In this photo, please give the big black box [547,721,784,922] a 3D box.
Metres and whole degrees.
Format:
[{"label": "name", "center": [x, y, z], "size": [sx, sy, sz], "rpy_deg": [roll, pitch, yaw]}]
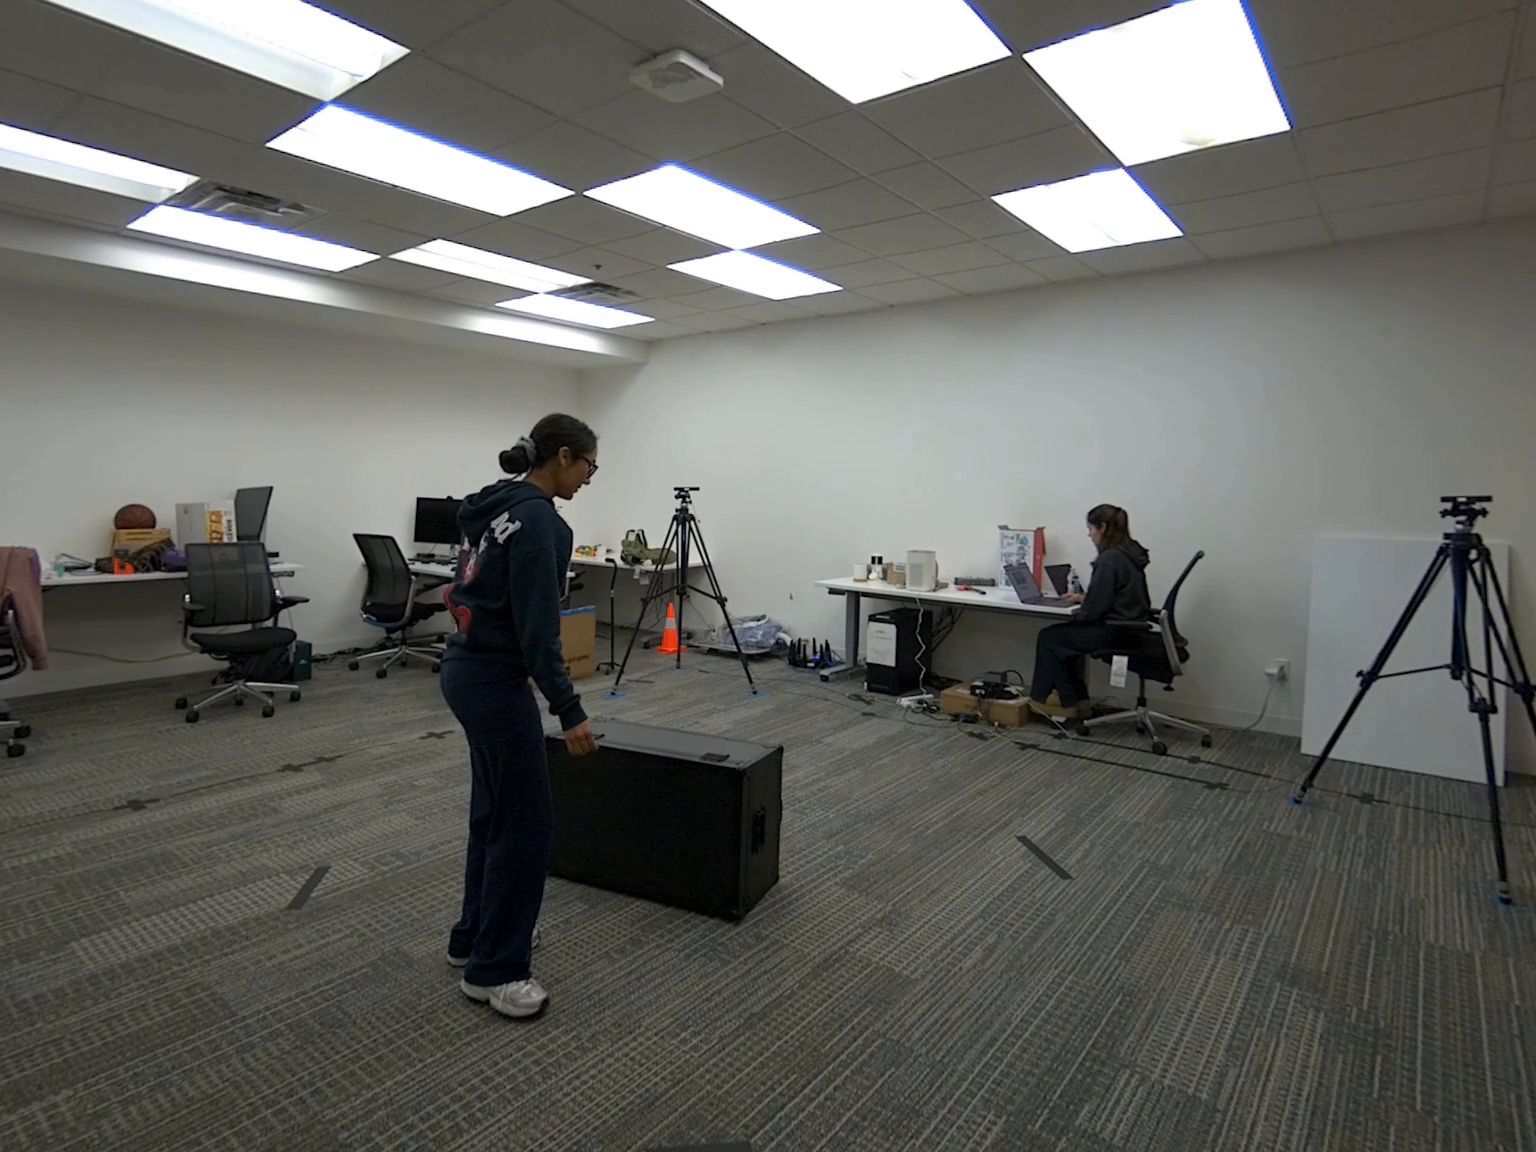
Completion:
[{"label": "big black box", "center": [-0.412, 0.813, 3.048], "size": [0.883, 0.521, 0.387], "rpy_deg": [3, 2, 24]}]
